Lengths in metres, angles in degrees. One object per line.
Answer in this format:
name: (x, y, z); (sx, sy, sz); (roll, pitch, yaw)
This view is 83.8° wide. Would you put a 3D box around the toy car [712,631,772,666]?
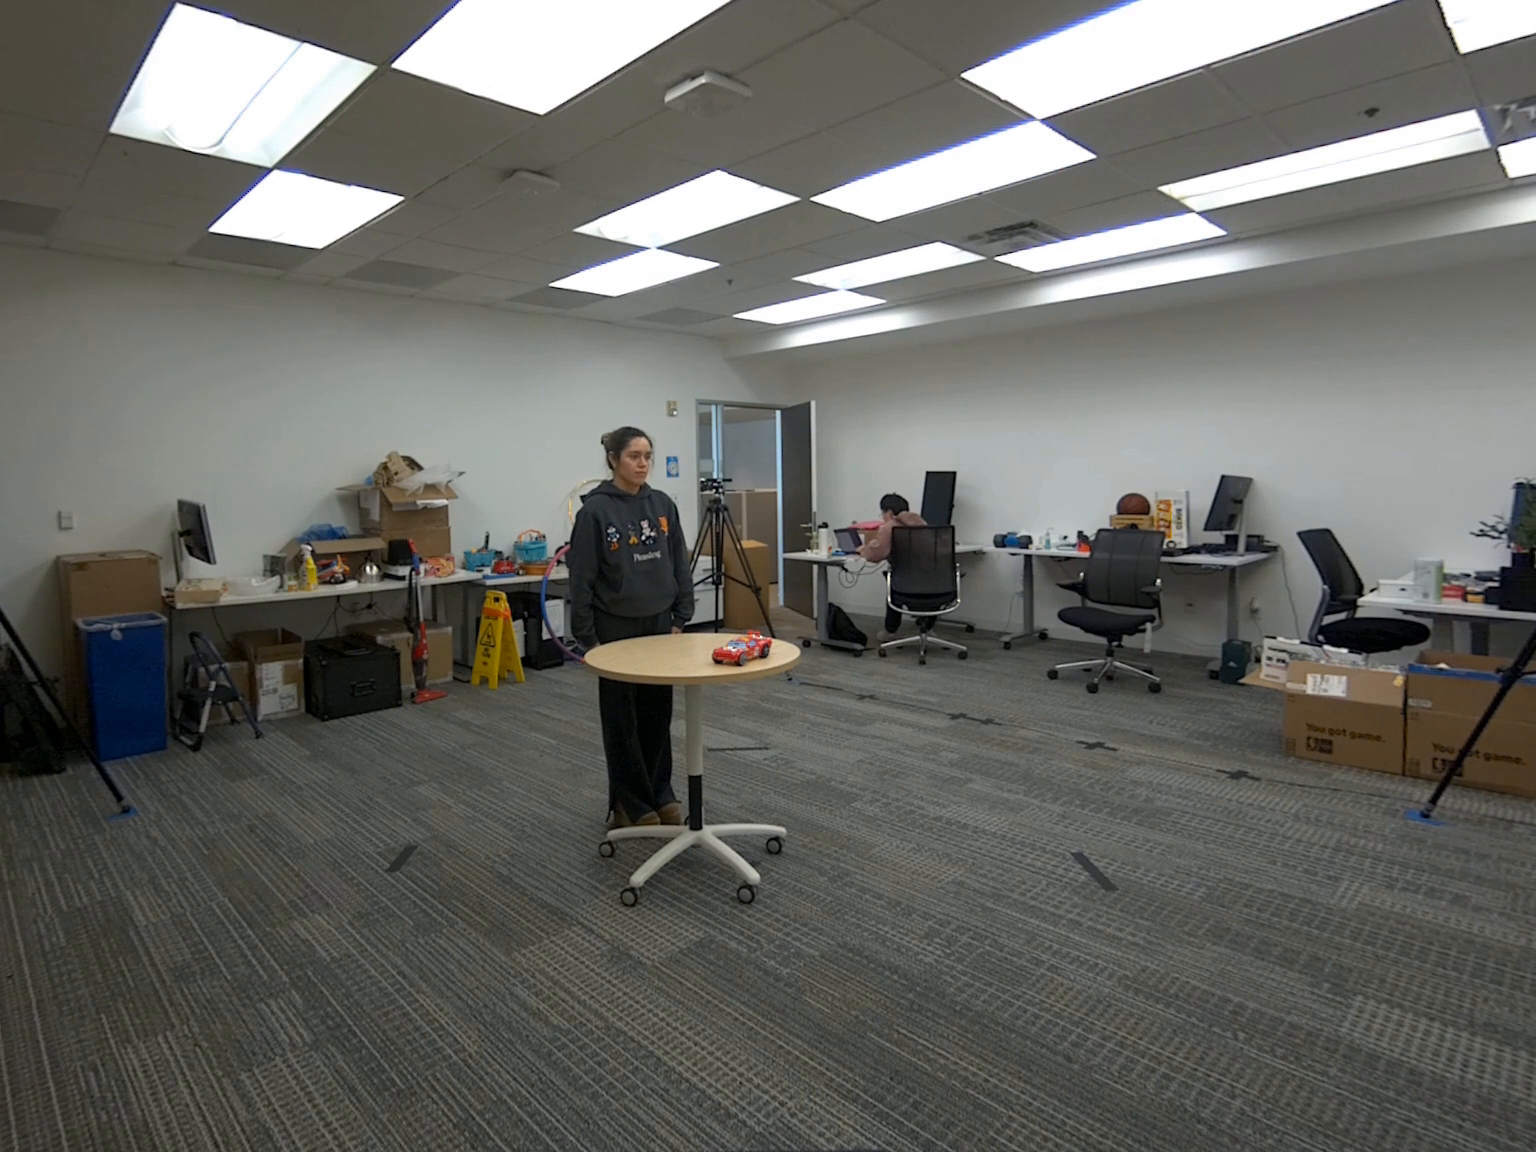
toy car: (-0.078, 0.254, 2.901); (0.134, 0.082, 0.251); (1, 18, 31)
